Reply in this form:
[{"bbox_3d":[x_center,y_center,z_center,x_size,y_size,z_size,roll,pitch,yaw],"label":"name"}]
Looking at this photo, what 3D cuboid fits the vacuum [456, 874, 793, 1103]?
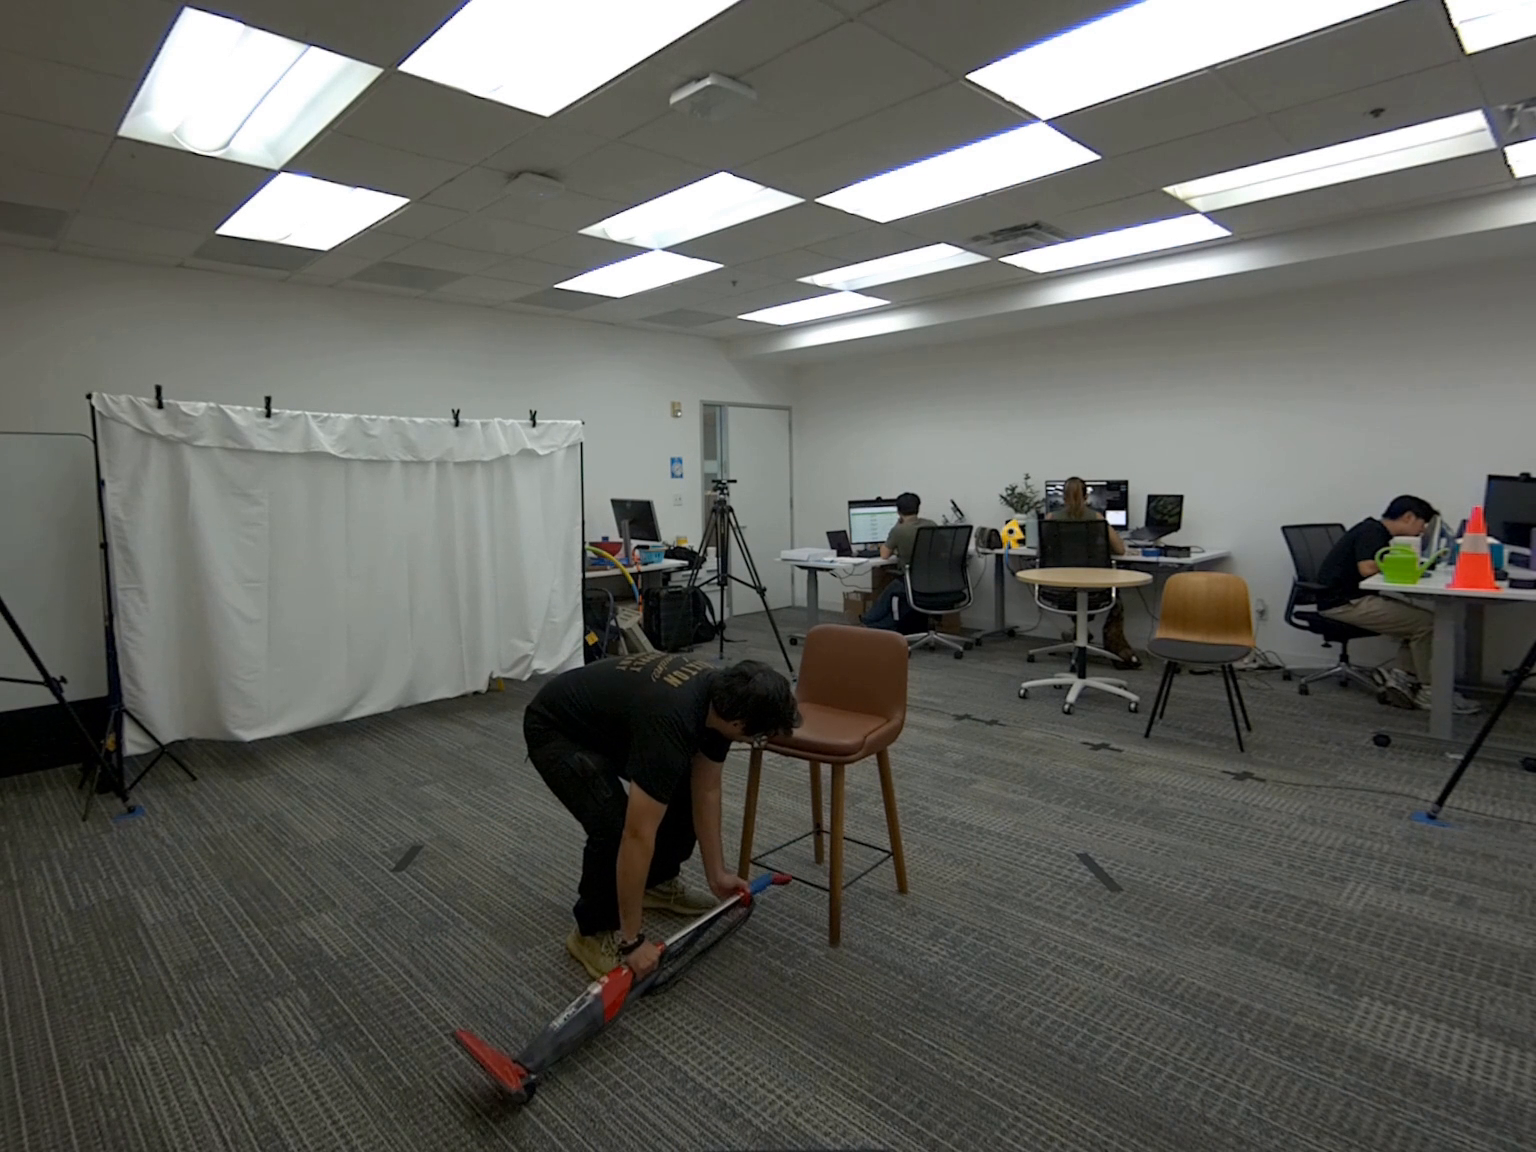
[{"bbox_3d":[-0.283,1.049,2.306,0.261,0.143,1.025,10,14,38],"label":"vacuum"}]
